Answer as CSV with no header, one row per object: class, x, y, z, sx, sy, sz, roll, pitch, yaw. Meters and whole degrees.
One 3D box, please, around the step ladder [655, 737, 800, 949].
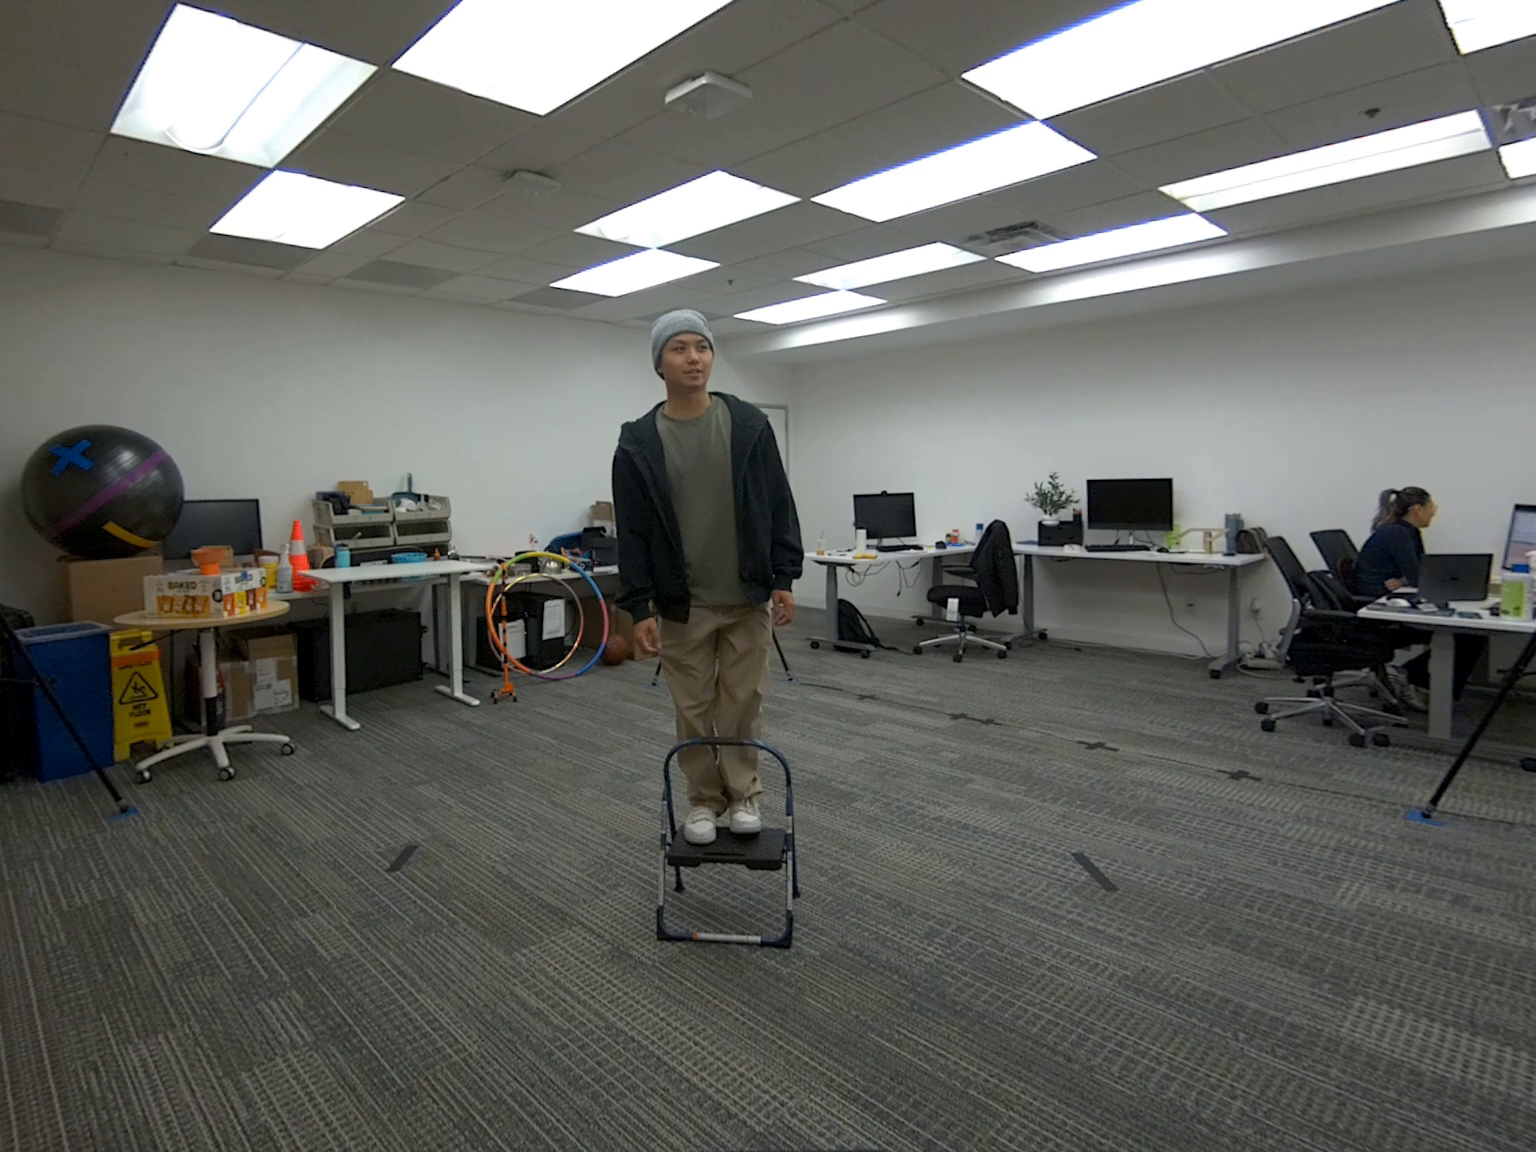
step ladder,-0.120,0.795,2.717,0.434,0.604,0.348,0,3,6
